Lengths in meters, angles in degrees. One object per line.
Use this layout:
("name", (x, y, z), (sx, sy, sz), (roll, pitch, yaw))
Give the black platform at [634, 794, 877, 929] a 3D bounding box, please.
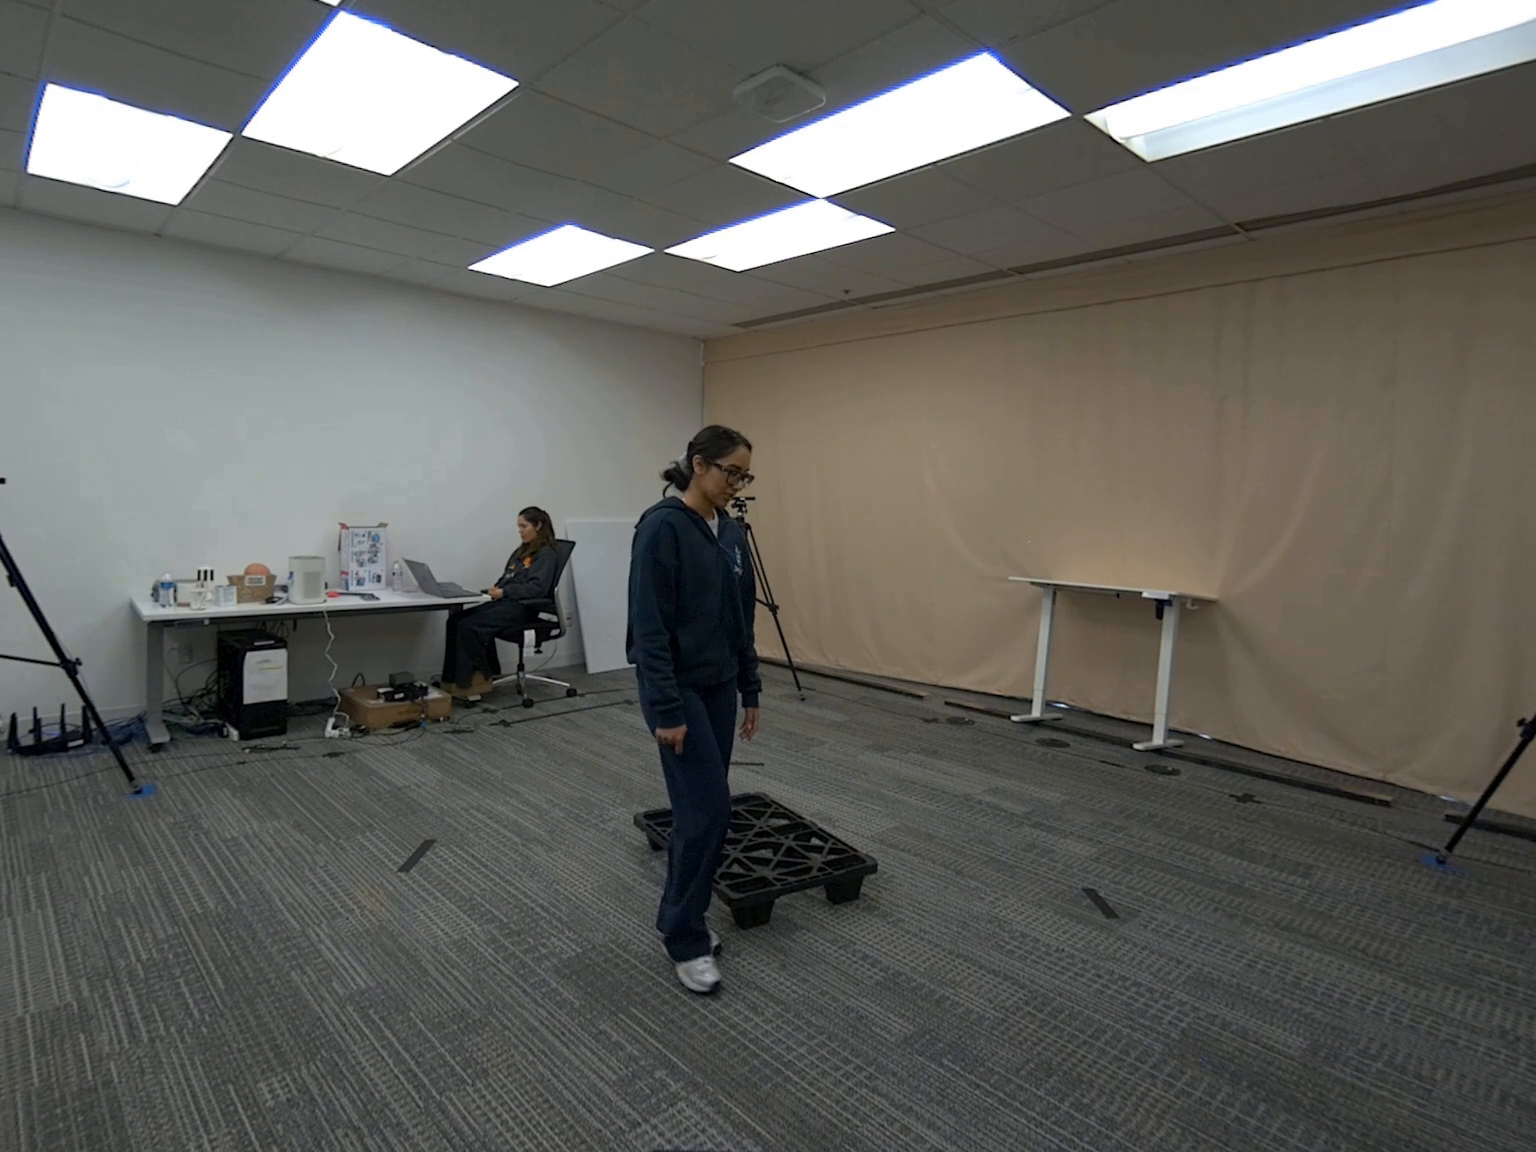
("black platform", (-0.081, 1.038, 3.144), (0.592, 0.143, 0.824), (-1, 6, -31))
